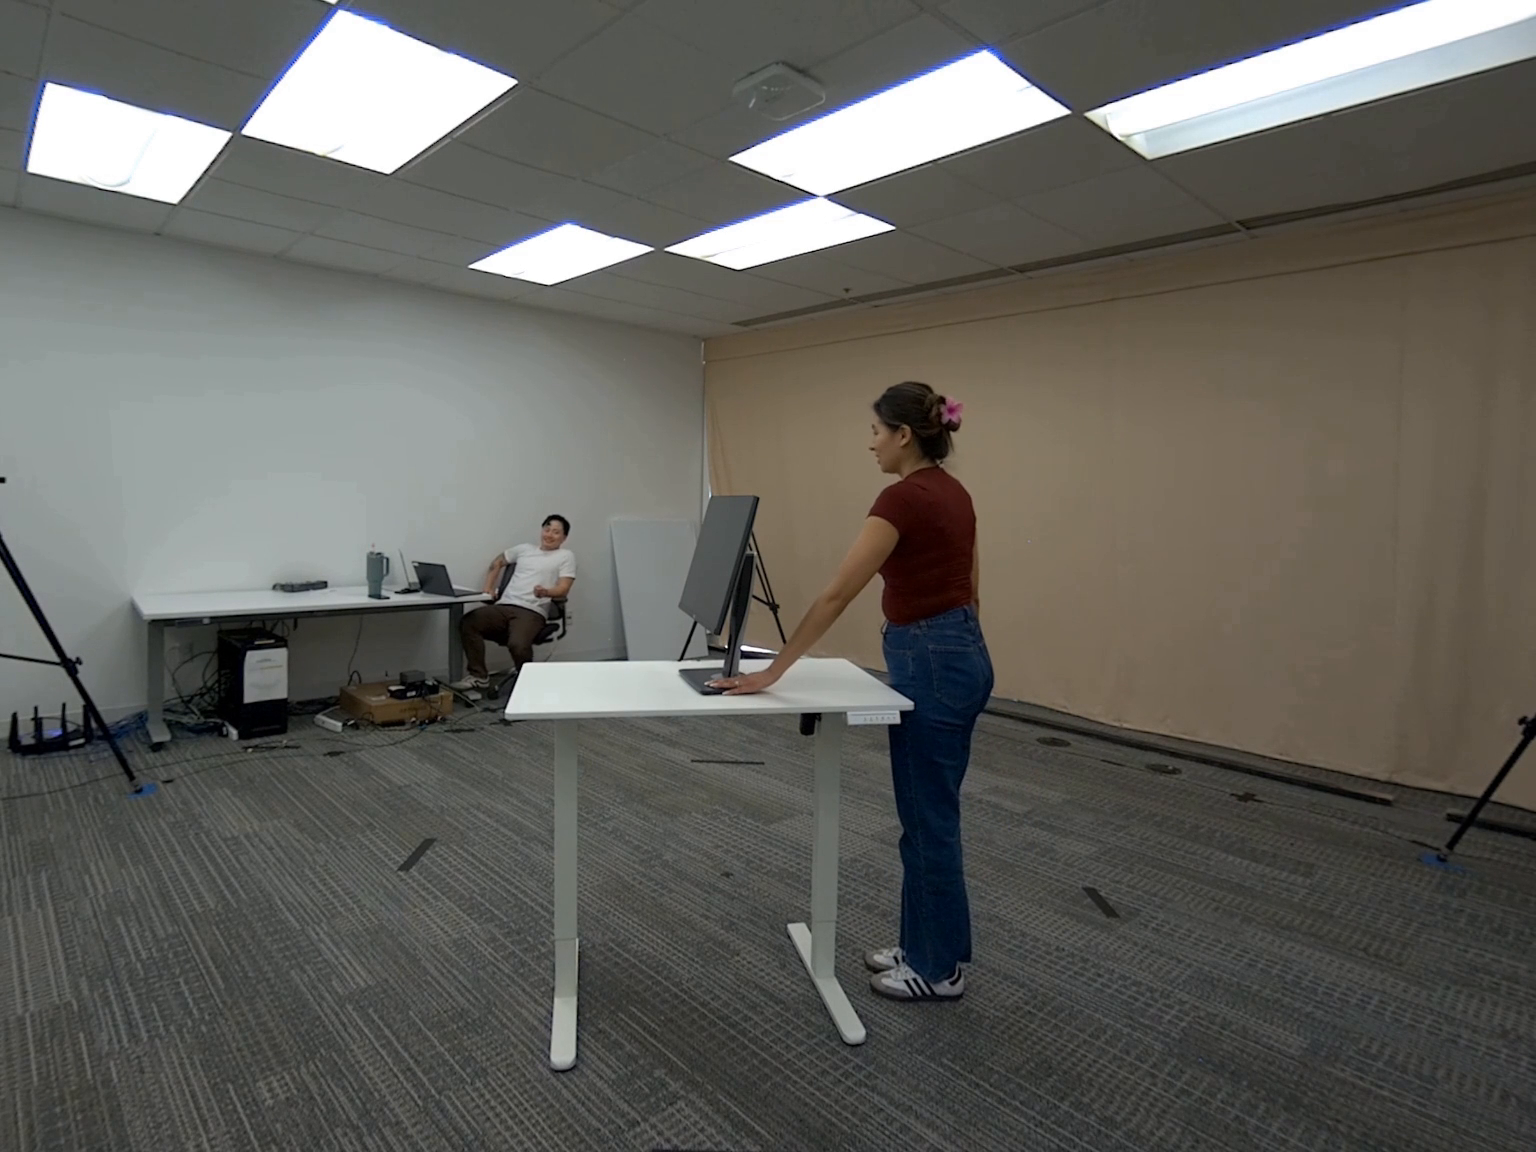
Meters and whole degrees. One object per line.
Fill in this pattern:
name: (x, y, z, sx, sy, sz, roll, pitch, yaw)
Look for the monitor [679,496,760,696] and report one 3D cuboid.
monitor: (-0.118, 0.041, 2.295, 0.184, 0.522, 0.547, 3, 2, -17)
